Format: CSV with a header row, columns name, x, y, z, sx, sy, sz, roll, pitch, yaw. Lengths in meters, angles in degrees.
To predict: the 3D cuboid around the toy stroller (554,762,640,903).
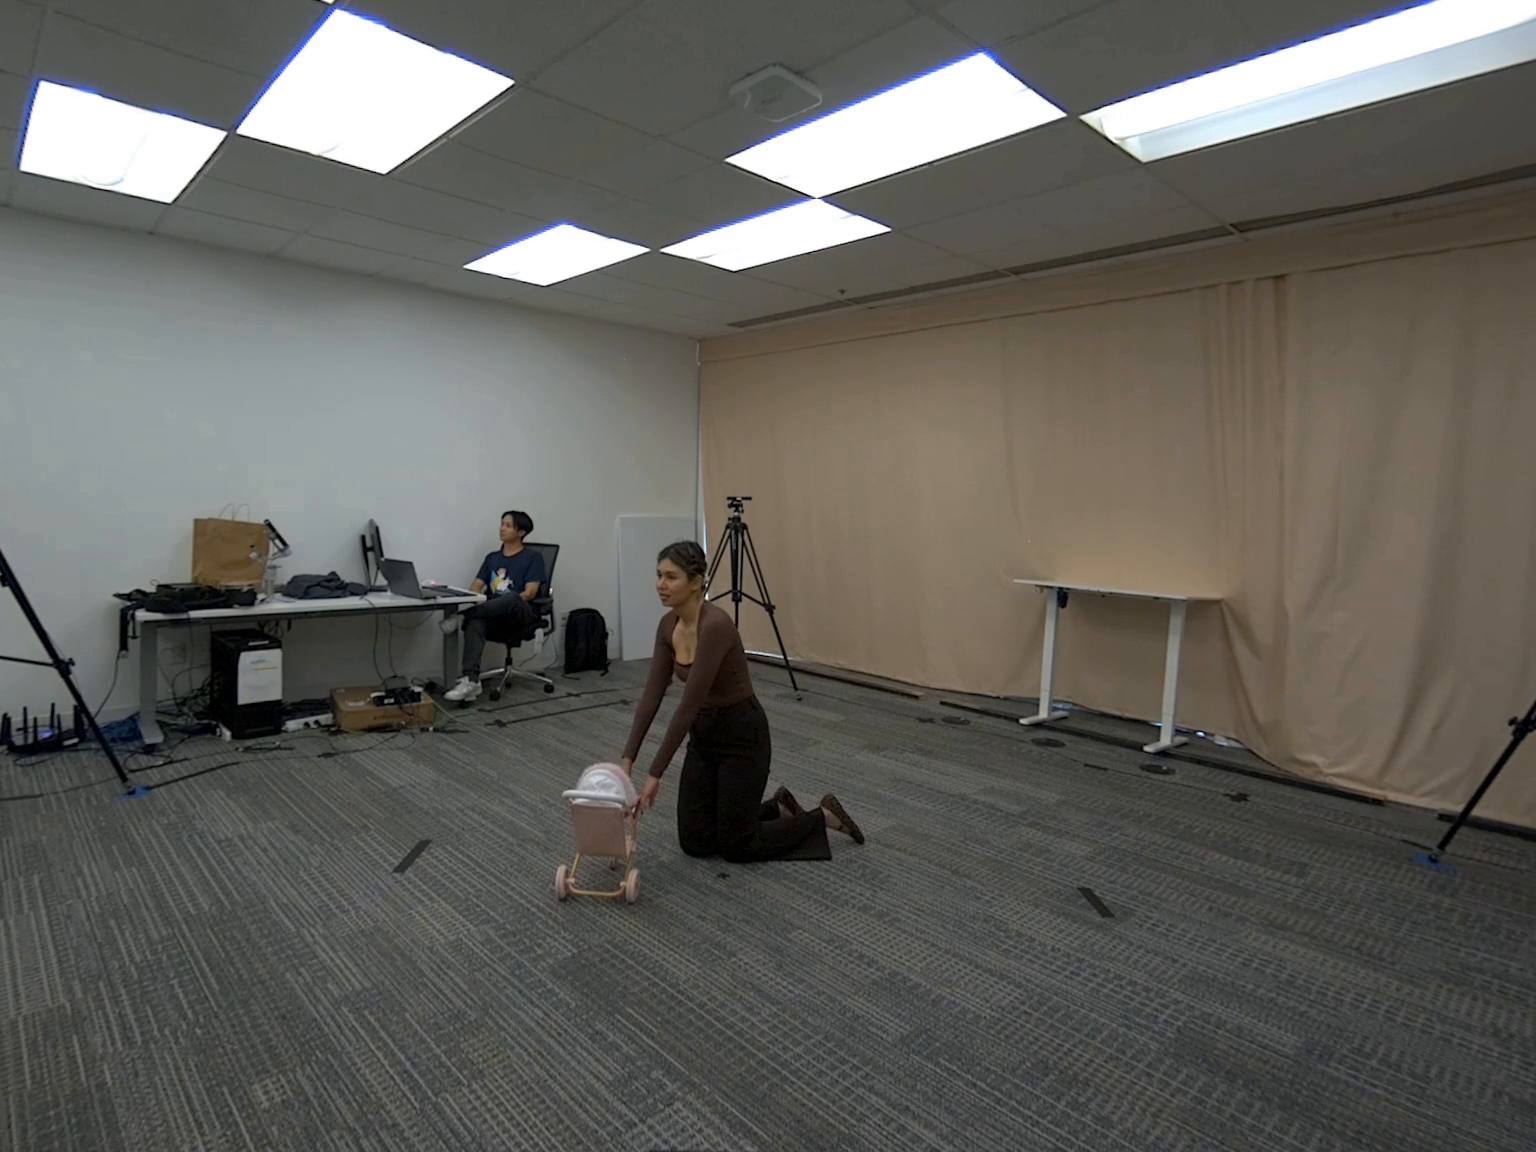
name,x,y,z,sx,sy,sz,roll,pitch,yaw
toy stroller,-0.575,0.883,2.951,0.283,0.528,0.344,3,20,6
